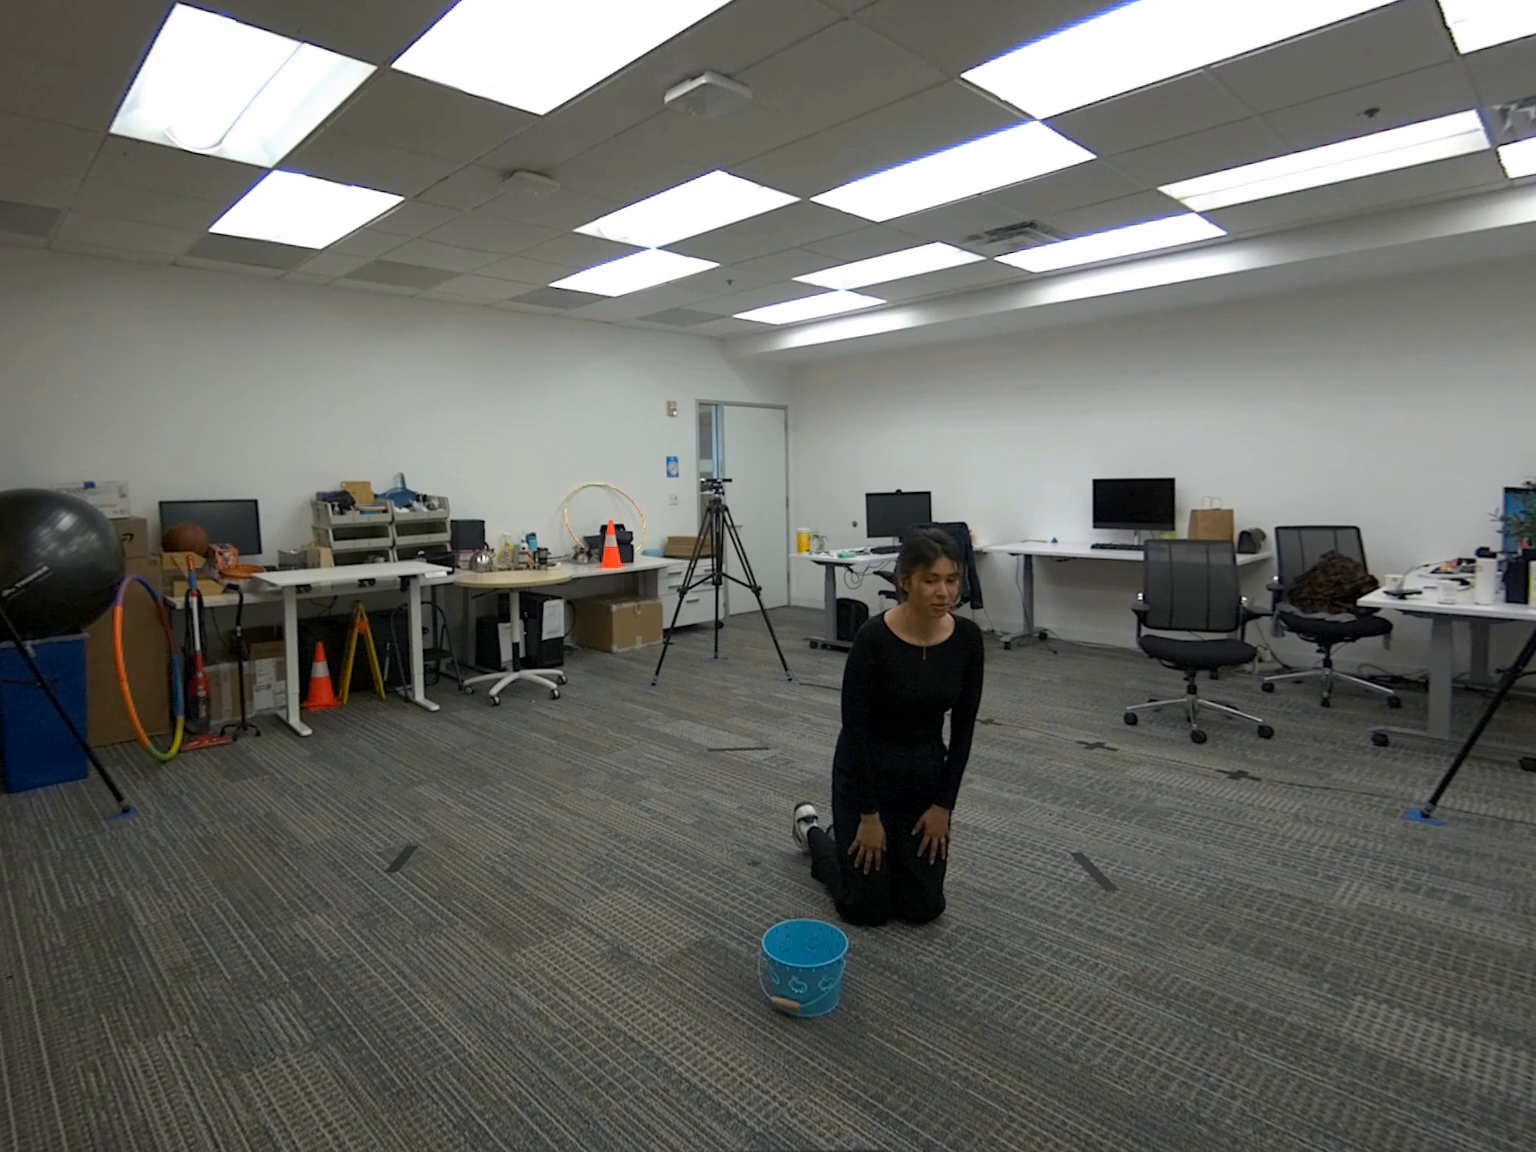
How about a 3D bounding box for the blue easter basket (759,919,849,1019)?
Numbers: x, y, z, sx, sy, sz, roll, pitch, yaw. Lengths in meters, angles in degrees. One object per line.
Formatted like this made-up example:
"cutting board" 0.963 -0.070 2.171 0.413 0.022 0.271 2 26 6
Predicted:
"blue easter basket" 0.103 1.059 2.304 0.243 0.155 0.245 -1 5 -2
